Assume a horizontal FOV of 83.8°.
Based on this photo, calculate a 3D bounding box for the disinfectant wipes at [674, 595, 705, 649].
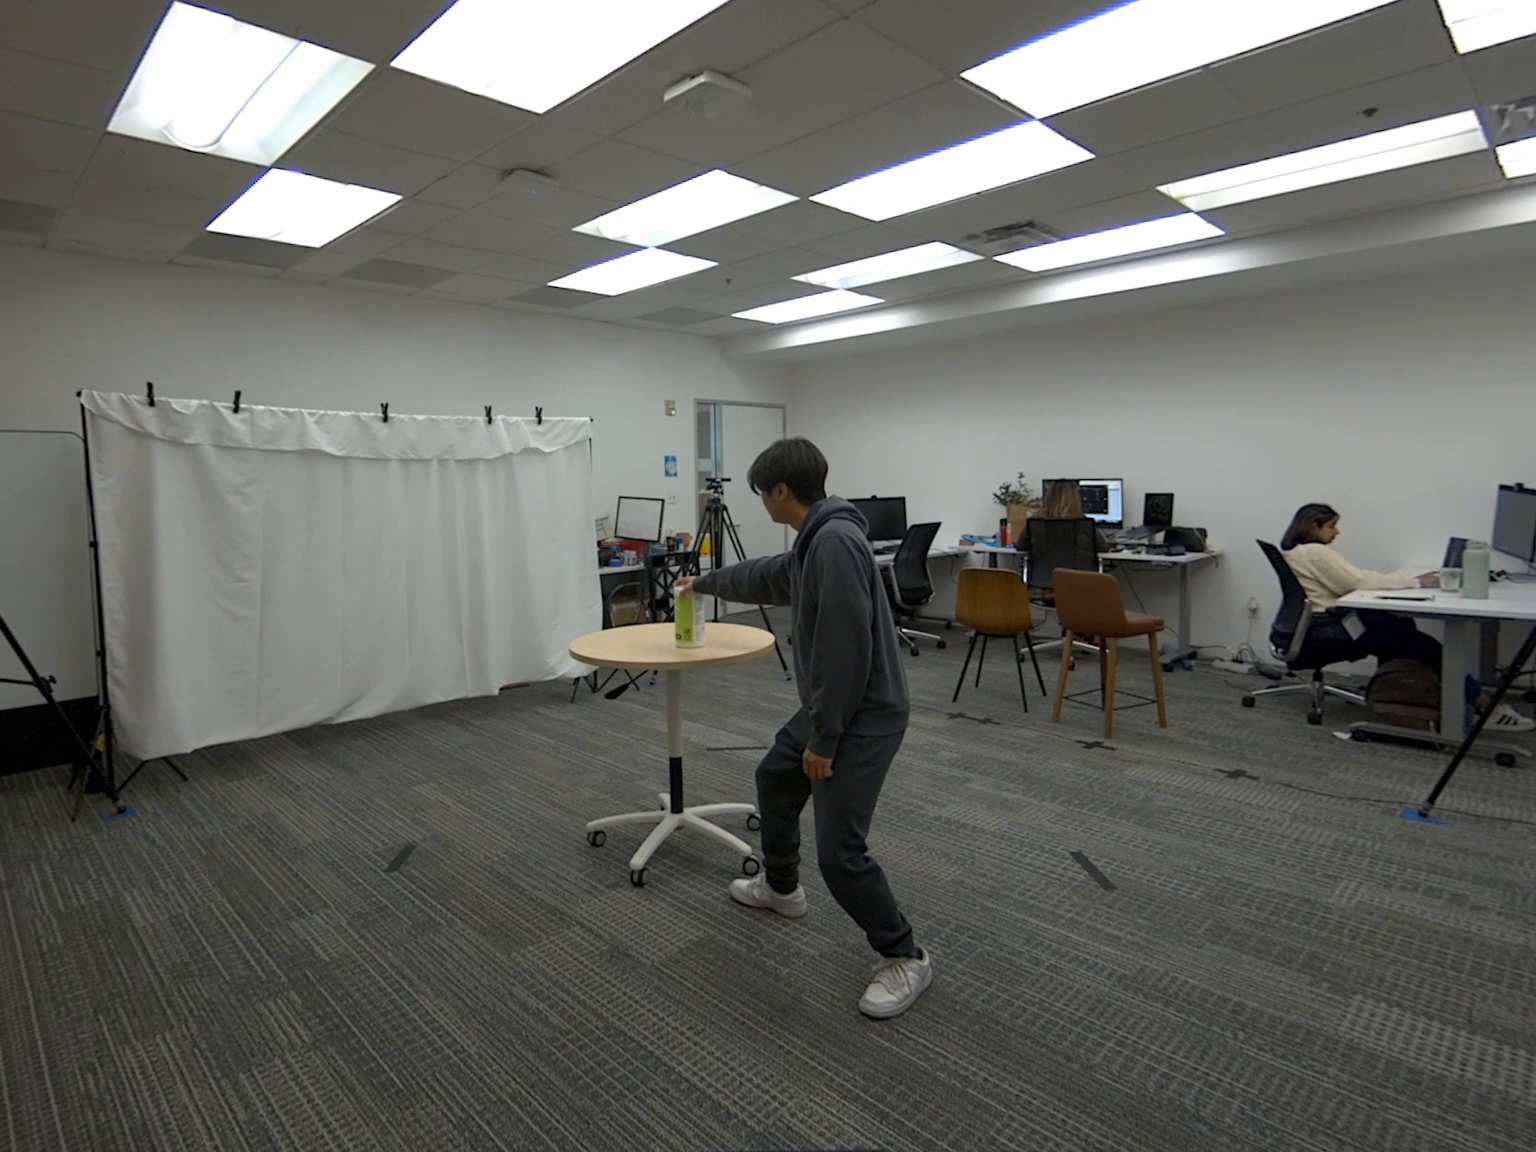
[{"bbox_3d":[-0.279,0.145,3.079,0.118,0.217,0.118,0,4,-2],"label":"disinfectant wipes"}]
